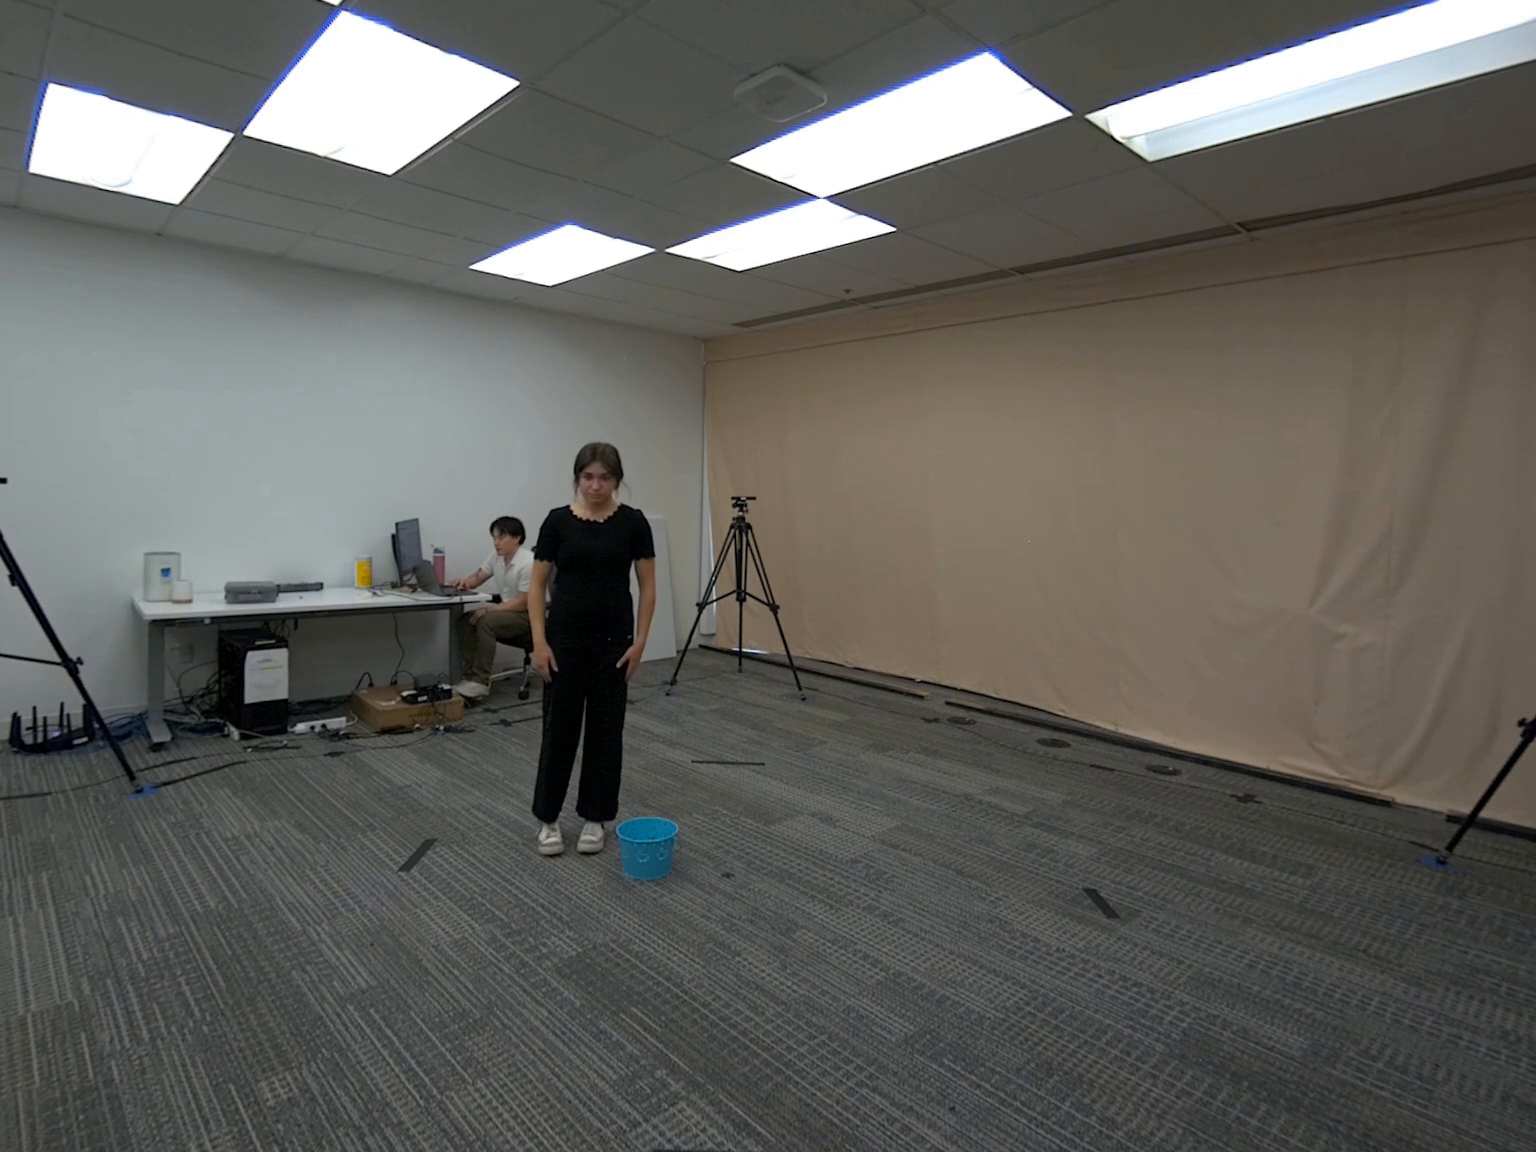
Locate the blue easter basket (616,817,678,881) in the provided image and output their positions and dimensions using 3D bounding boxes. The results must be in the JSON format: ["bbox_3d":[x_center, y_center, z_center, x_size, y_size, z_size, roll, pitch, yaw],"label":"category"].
[{"bbox_3d":[-0.454,1.017,3.142,0.243,0.155,0.244,1,5,-1],"label":"blue easter basket"}]
